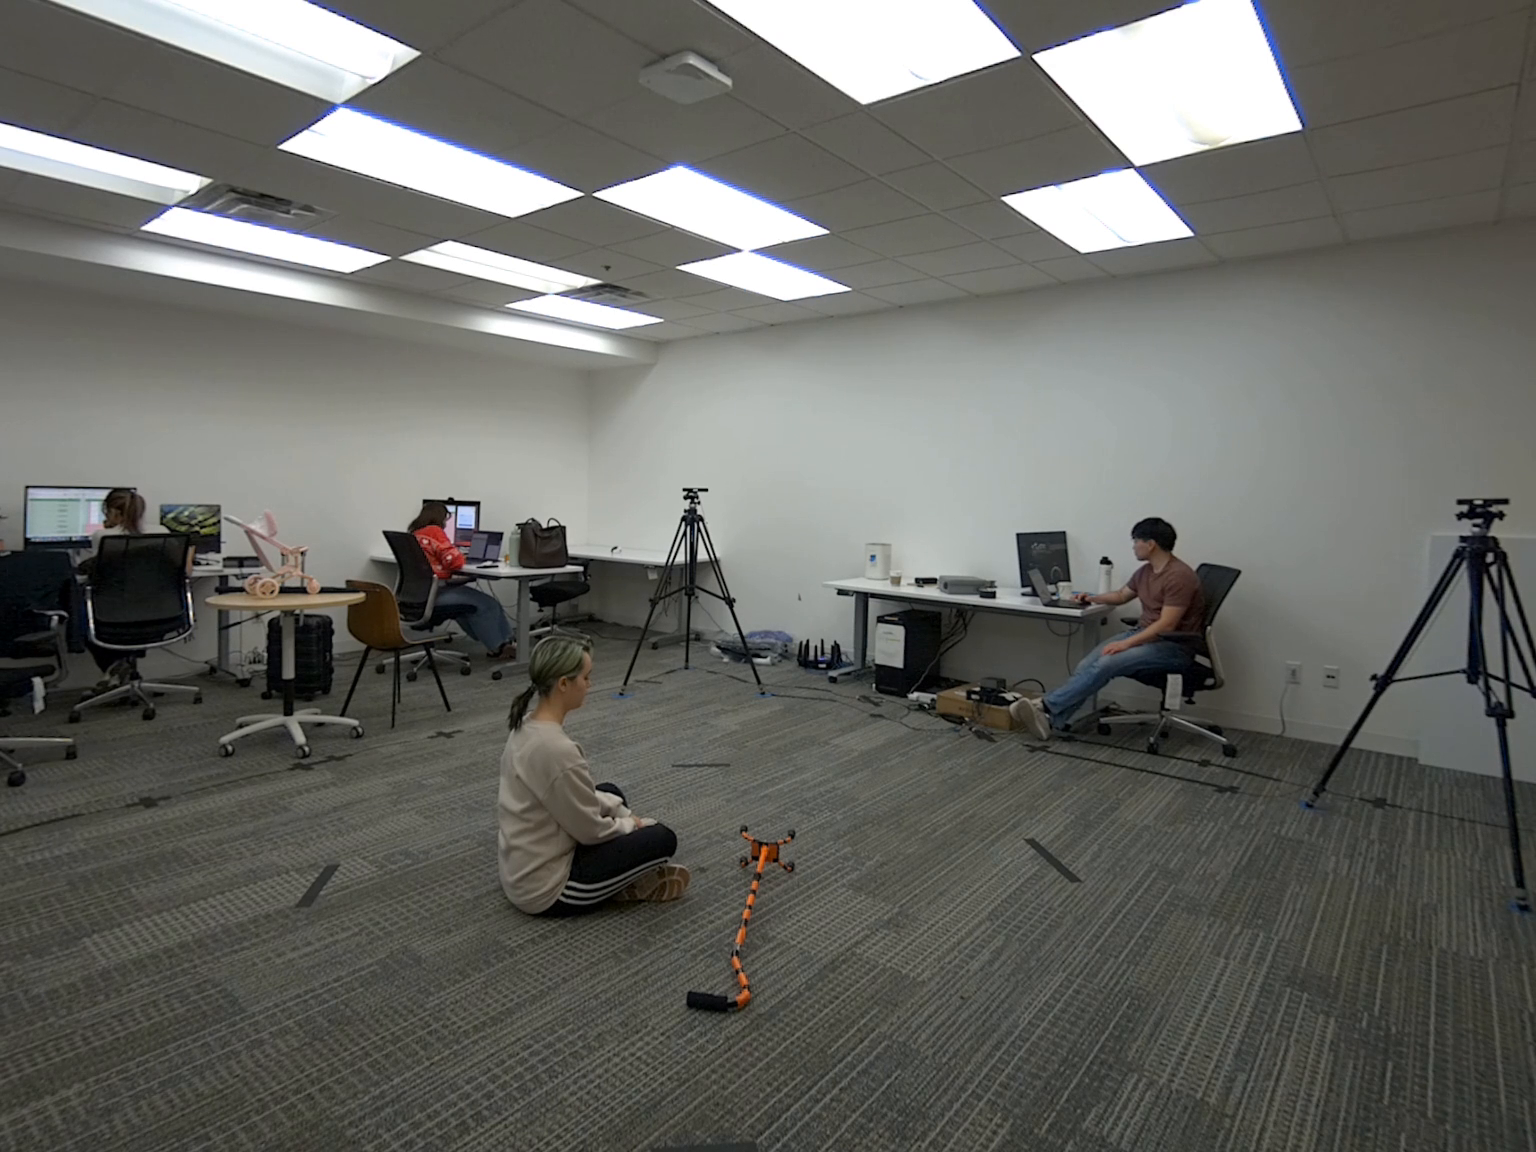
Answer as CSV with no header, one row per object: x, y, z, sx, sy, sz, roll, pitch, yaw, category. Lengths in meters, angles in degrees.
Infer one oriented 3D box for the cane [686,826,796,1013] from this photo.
-0.067,1.066,2.695,0.209,0.150,0.905,3,10,8,cane
